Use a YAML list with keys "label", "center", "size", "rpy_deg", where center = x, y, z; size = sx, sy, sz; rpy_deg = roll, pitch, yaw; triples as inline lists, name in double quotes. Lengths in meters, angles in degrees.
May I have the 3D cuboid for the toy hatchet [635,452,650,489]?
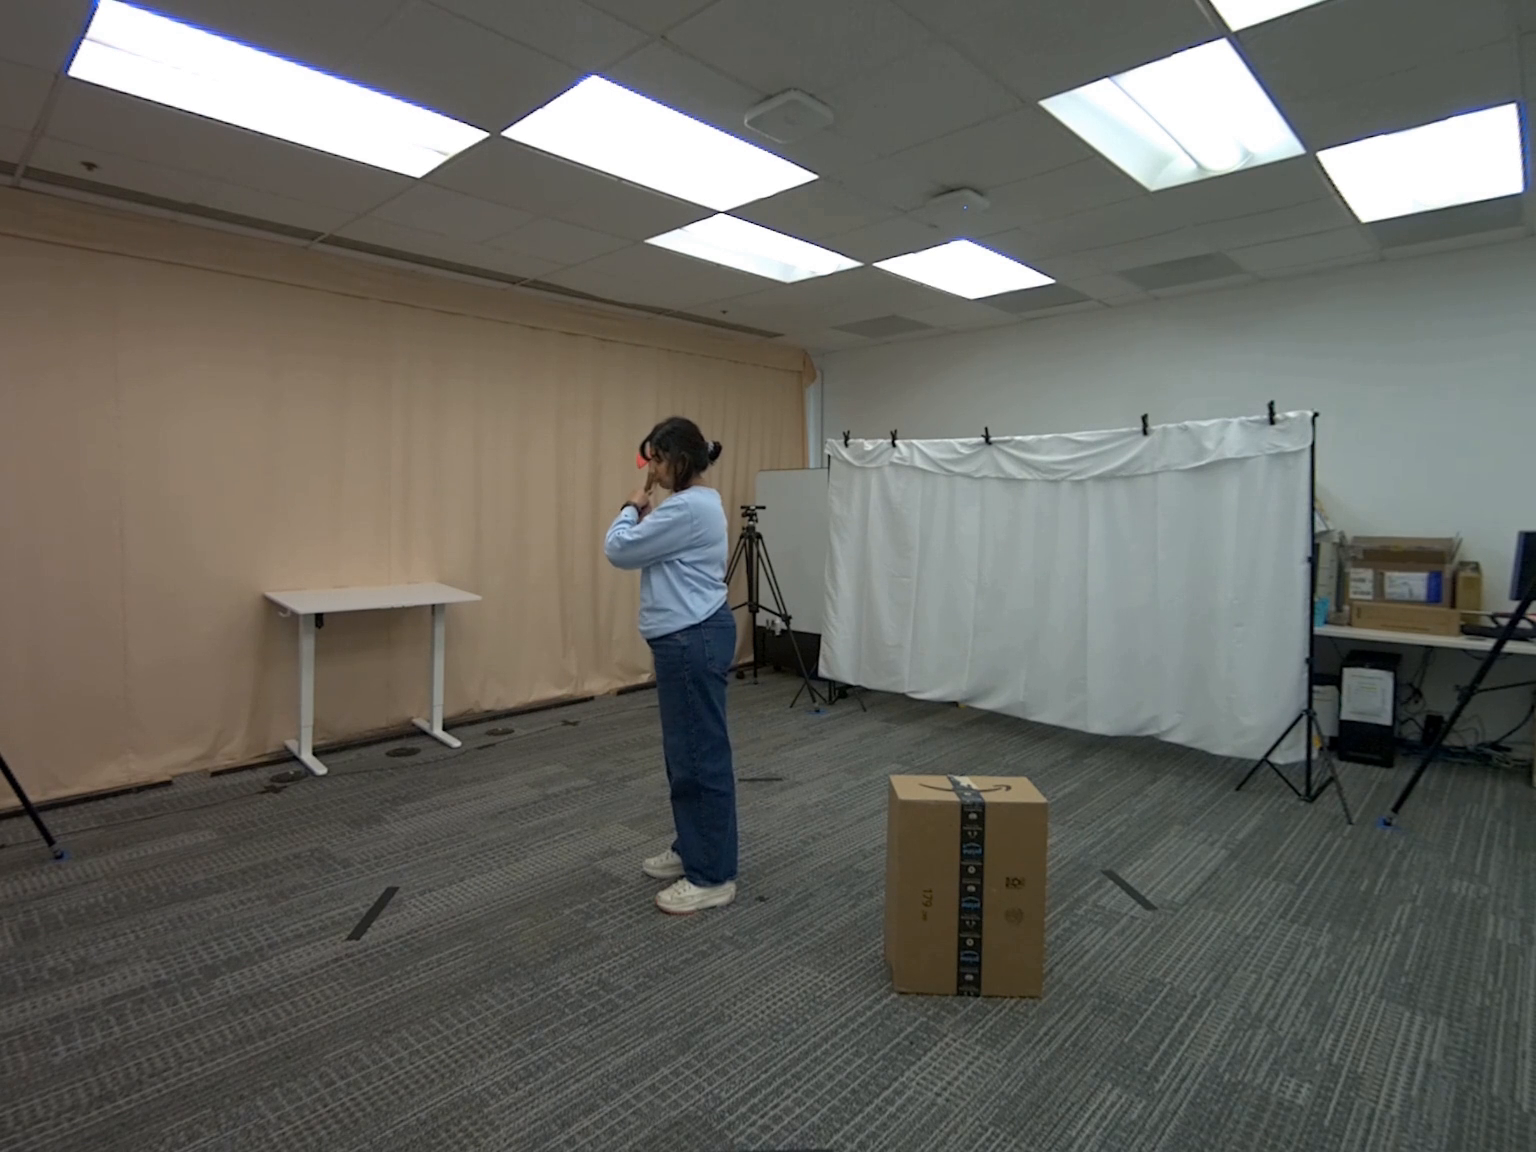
- label: "toy hatchet"
  center: [-0.484, -0.362, 3.183]
  size: [0.130, 0.270, 0.030]
  rpy_deg: [32, -13, -3]
